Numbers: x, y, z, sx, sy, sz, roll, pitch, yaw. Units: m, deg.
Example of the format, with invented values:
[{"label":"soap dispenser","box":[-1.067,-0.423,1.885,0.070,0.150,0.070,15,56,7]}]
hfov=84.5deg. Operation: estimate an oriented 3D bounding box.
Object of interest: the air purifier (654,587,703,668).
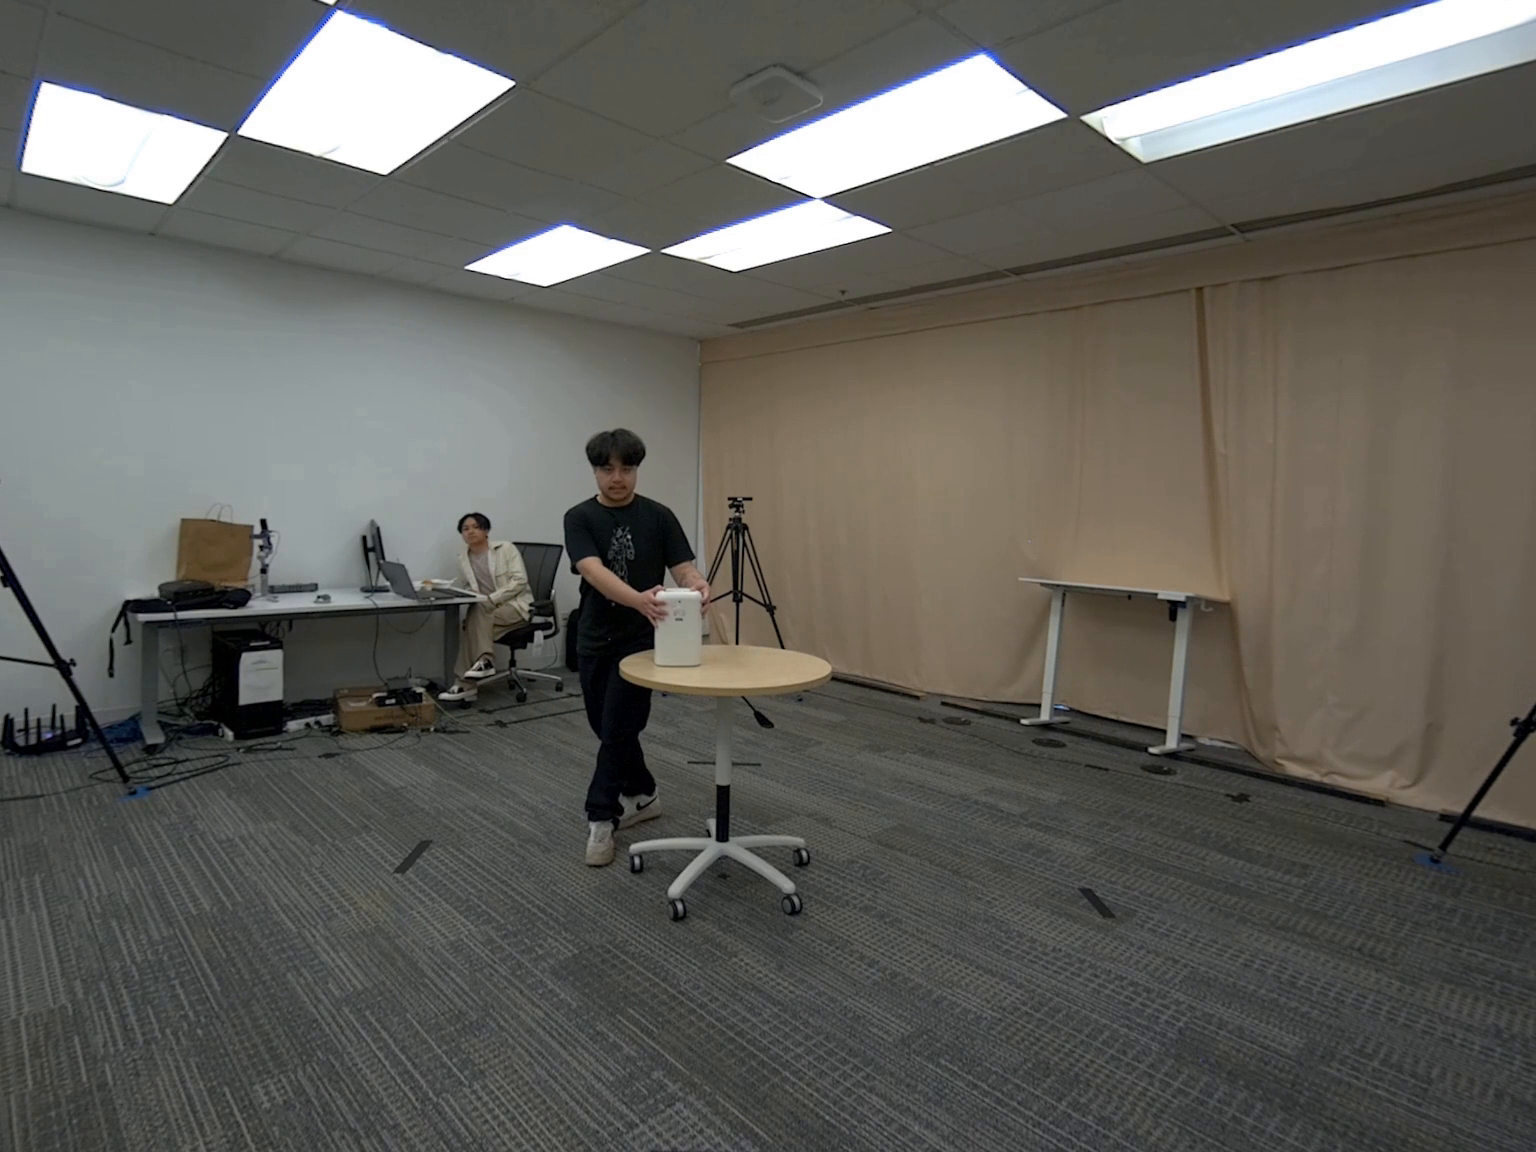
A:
[{"label":"air purifier","box":[-0.335,0.188,3.051,0.170,0.265,0.172,-2,3,-4]}]
